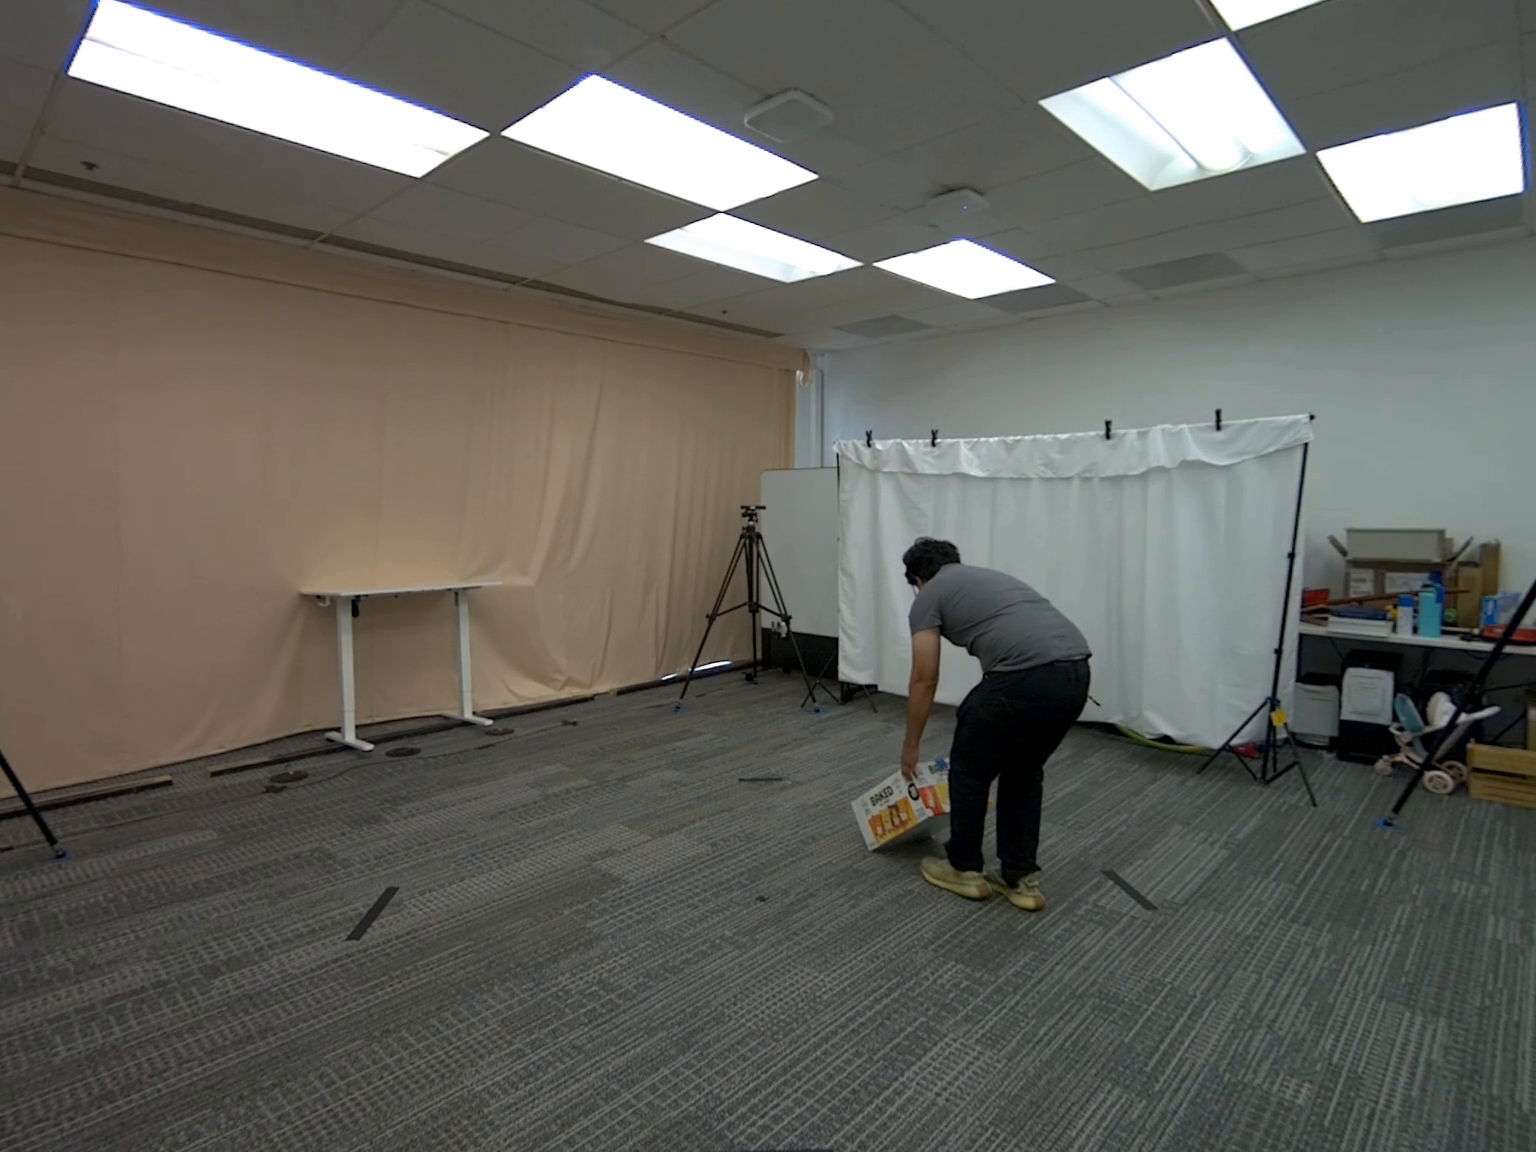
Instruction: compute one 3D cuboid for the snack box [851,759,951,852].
[{"bbox_3d":[0.611,0.910,3.377,0.331,0.210,0.407,-1,-33,-32],"label":"snack box"}]
